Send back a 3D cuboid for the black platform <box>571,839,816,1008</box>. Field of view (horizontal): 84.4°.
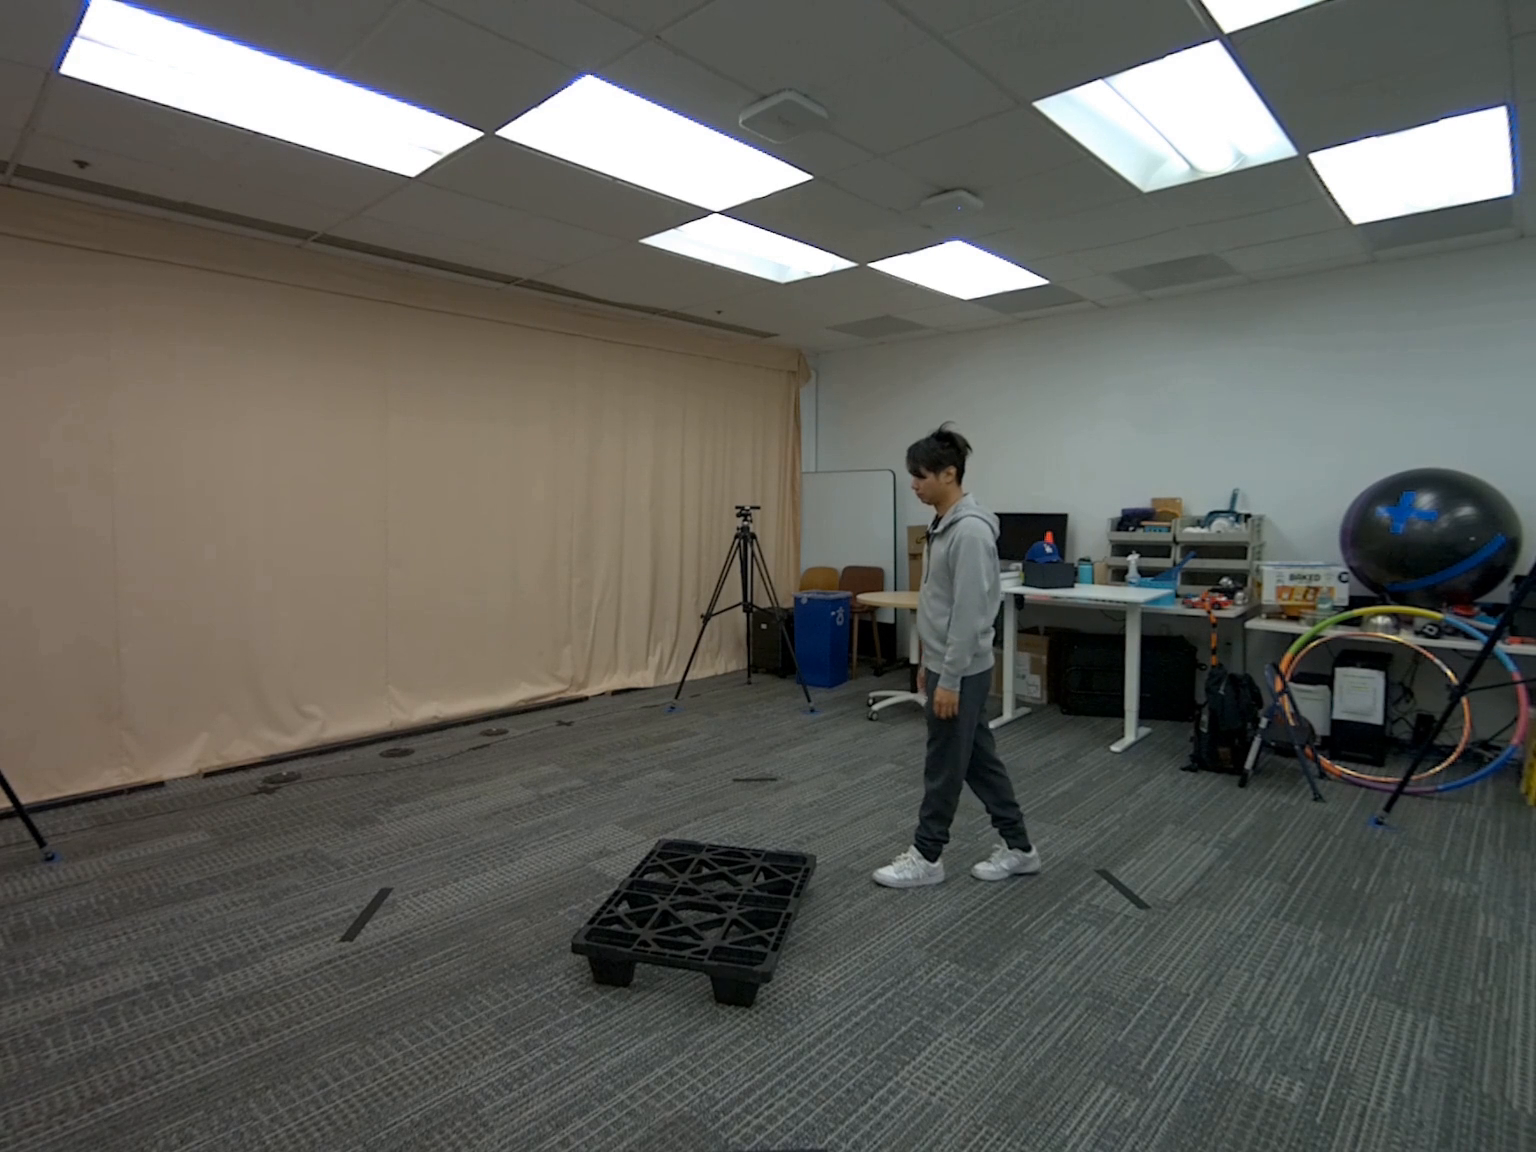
[{"bbox_3d":[-0.193,1.097,2.743,0.615,0.143,0.795,1,5,14],"label":"black platform"}]
